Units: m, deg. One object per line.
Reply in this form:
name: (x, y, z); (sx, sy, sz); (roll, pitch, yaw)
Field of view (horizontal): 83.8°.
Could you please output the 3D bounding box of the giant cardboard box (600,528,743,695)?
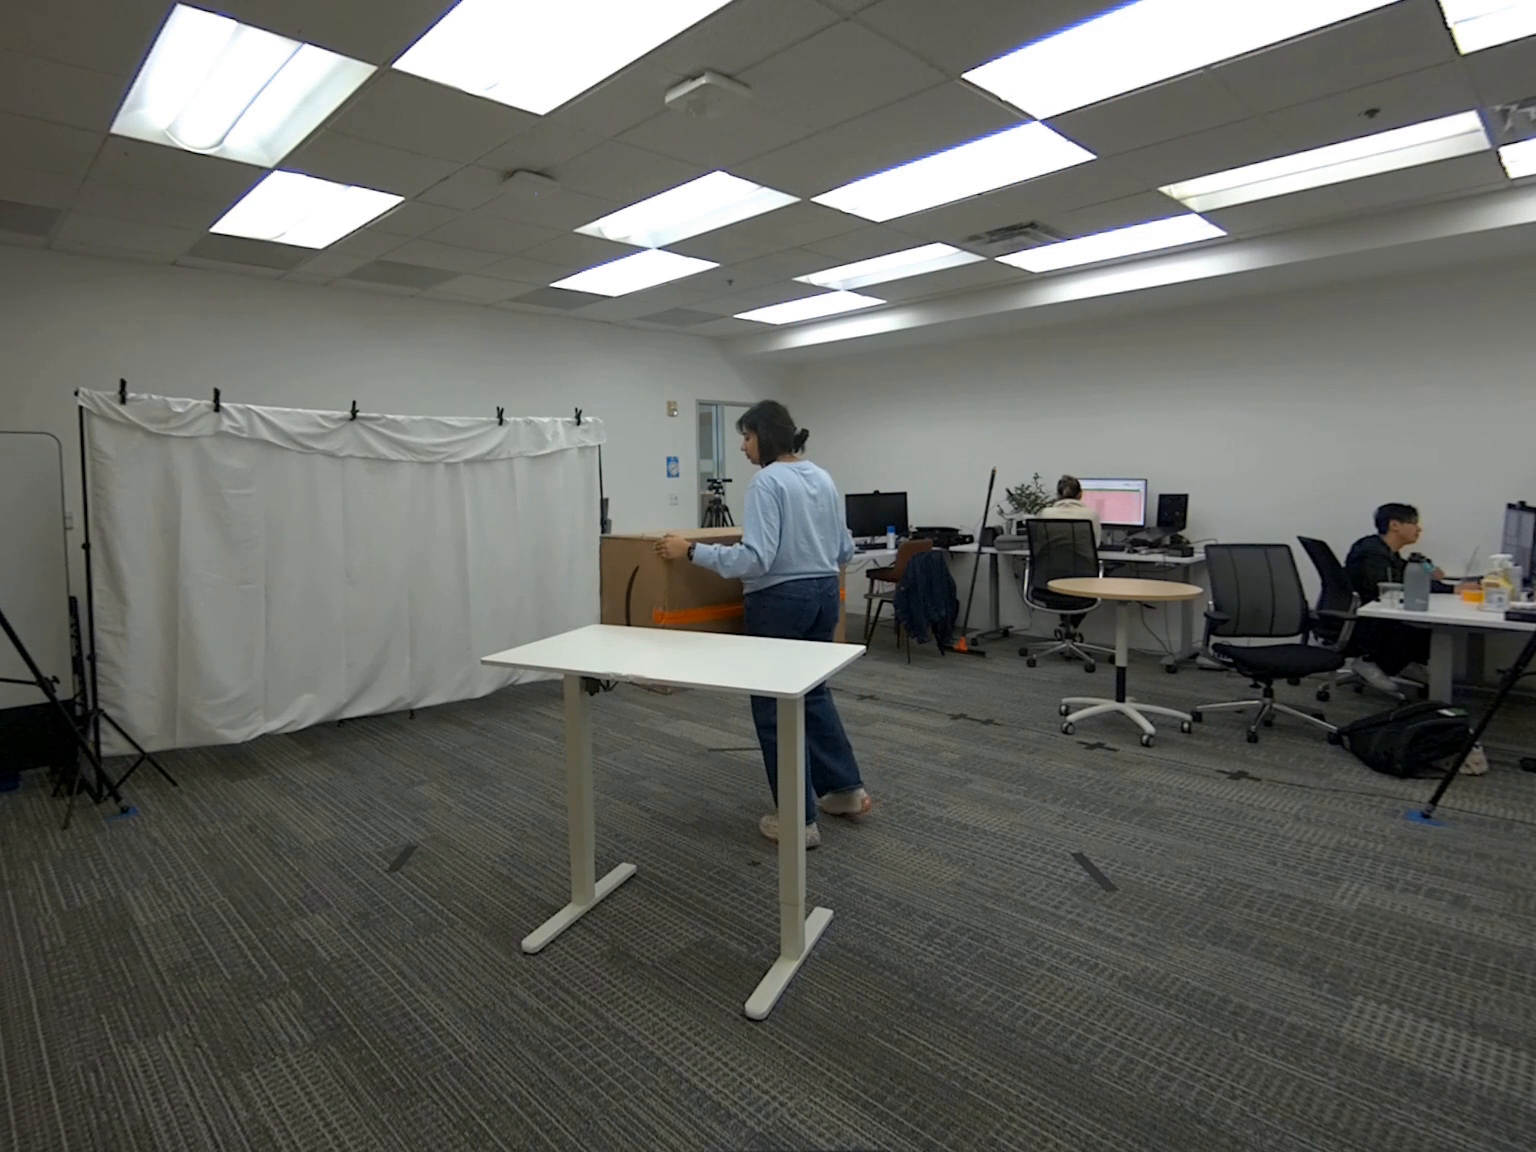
giant cardboard box: (-0.163, 0.101, 3.621); (0.999, 0.575, 0.440); (-6, 8, -43)
